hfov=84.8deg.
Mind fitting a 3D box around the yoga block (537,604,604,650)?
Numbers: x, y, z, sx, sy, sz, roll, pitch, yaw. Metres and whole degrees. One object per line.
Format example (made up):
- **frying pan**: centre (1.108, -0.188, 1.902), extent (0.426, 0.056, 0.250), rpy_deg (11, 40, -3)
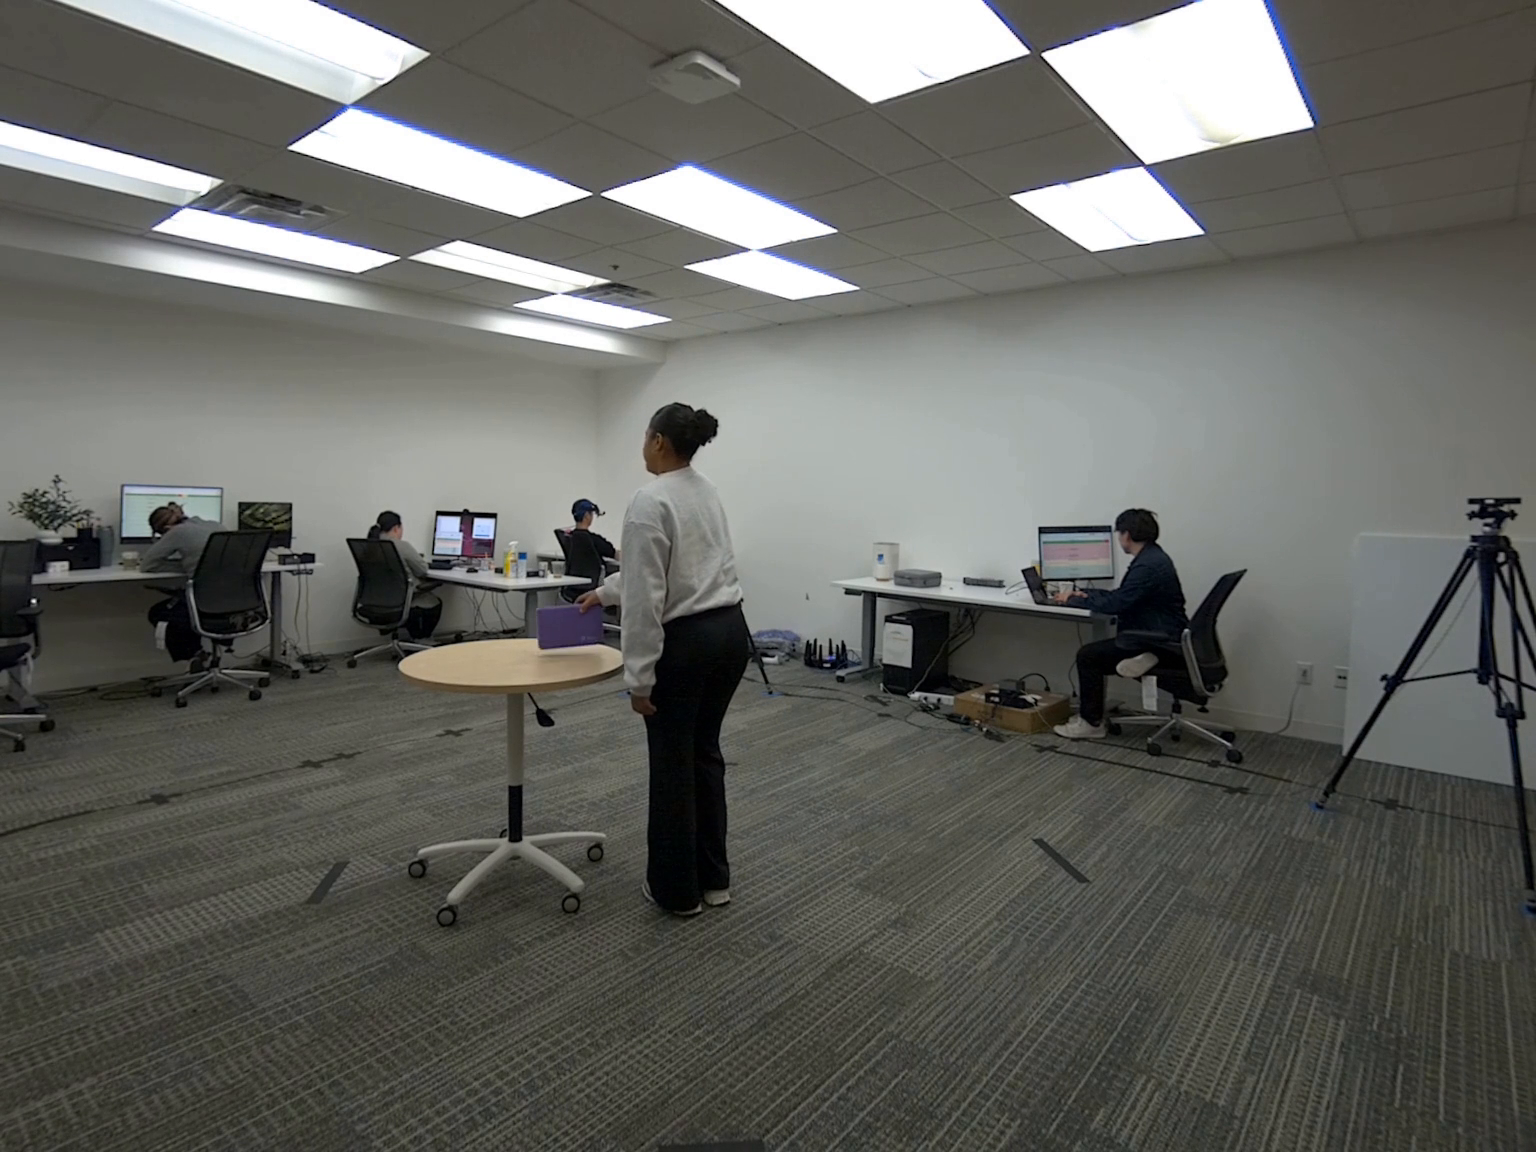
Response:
- **yoga block**: centre (-0.715, 0.163, 3.057), extent (0.226, 0.149, 0.077), rpy_deg (-1, -1, -13)
